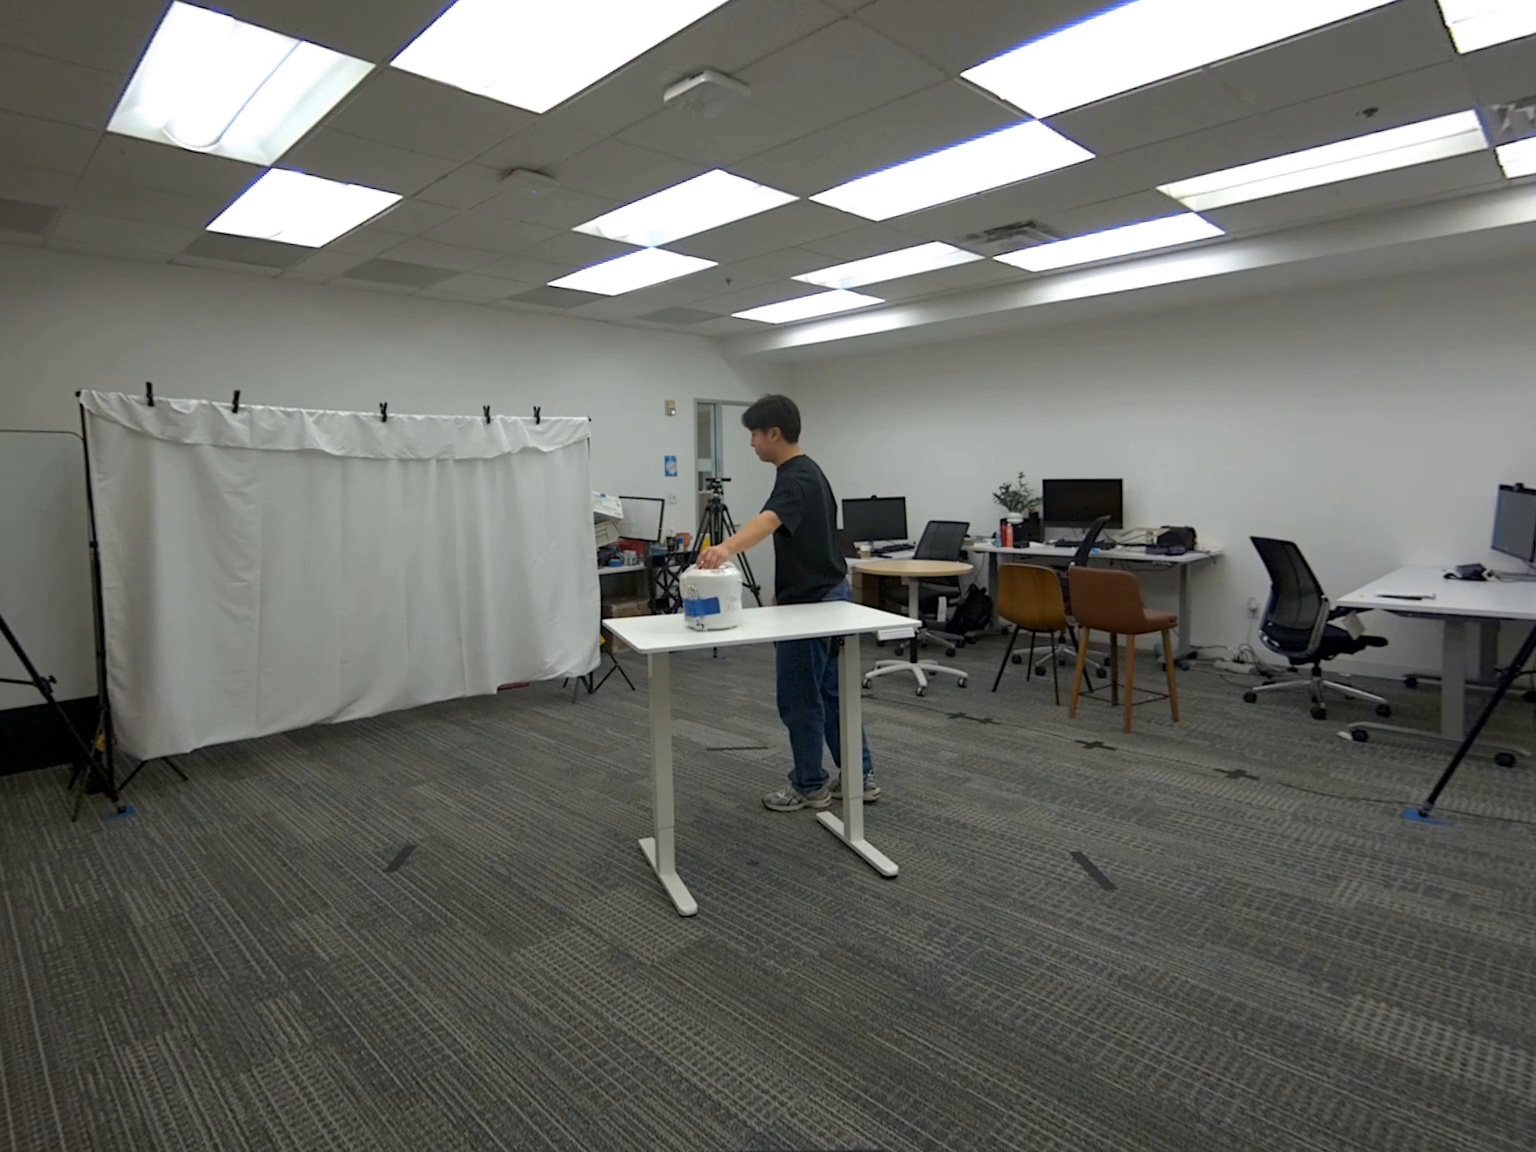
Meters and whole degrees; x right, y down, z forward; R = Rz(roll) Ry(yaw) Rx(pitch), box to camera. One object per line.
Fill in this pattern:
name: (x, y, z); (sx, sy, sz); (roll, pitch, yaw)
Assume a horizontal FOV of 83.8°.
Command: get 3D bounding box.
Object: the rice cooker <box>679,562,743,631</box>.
rice cooker: (-0.193, 0.059, 2.977); (0.217, 0.232, 0.222); (-3, 5, -17)
